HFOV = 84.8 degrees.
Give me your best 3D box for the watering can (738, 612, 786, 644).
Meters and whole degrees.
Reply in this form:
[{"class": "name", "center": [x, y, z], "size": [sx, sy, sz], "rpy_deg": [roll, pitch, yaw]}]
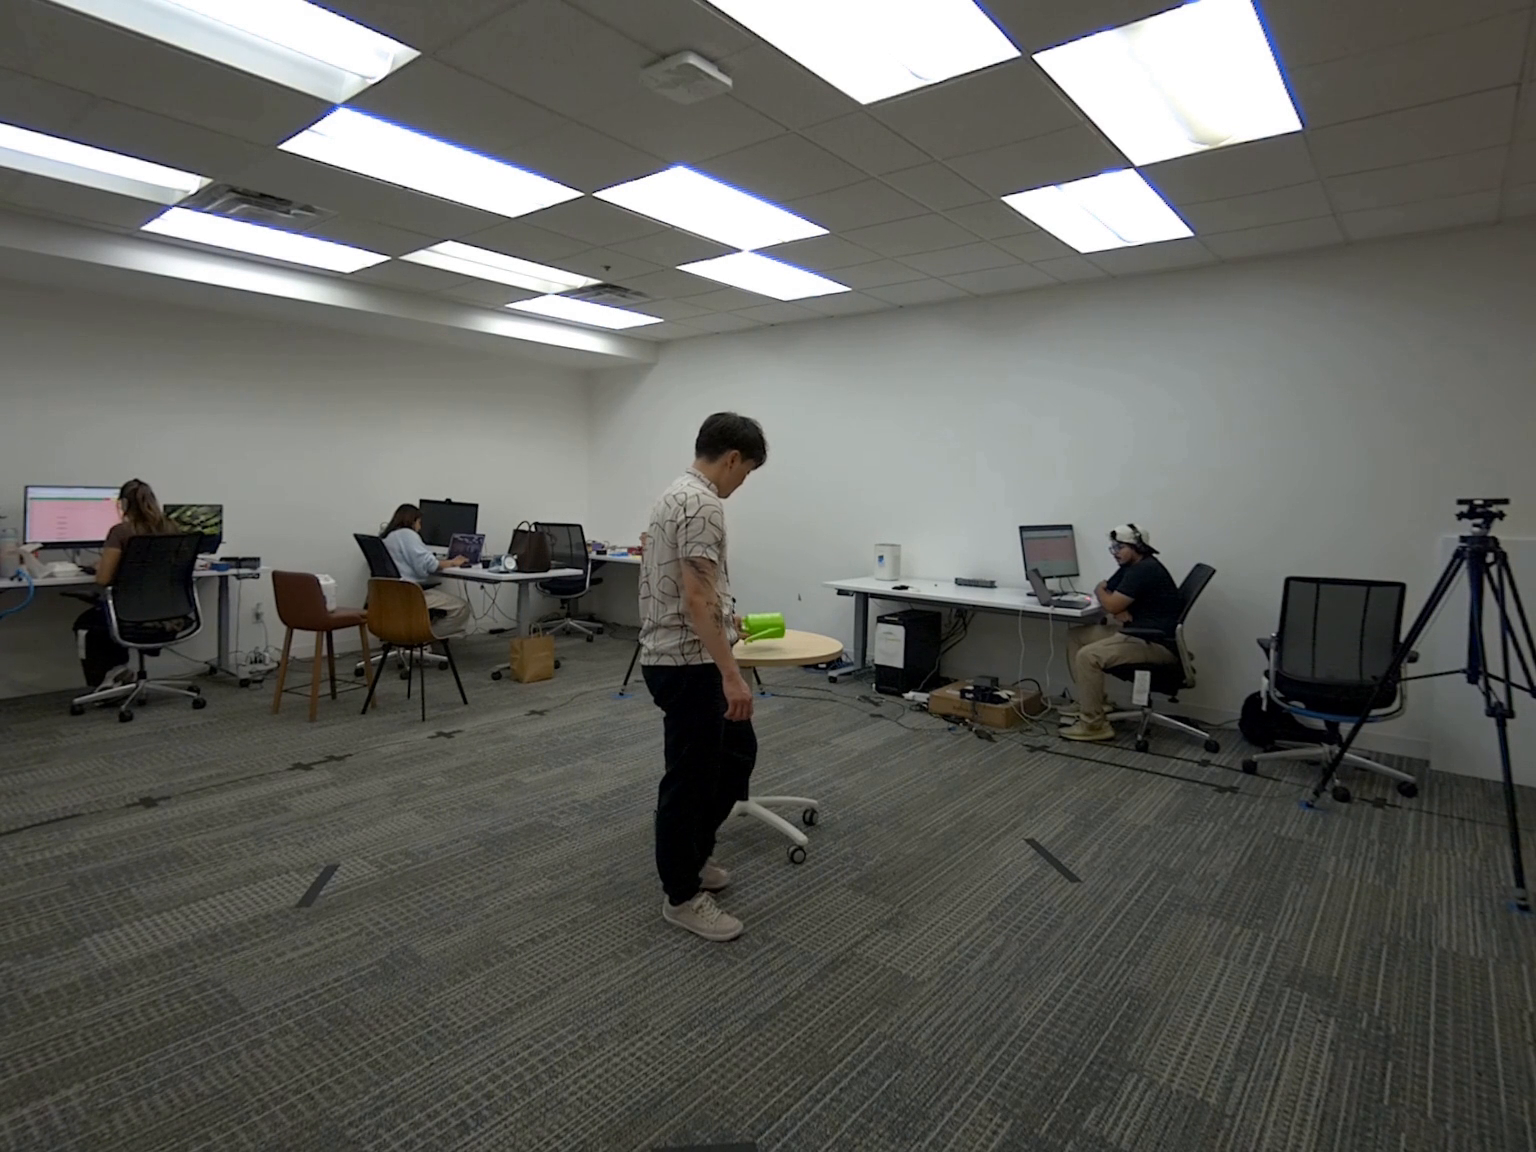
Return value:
[{"class": "watering can", "center": [-0.028, 0.214, 3.214], "size": [0.176, 0.096, 0.286], "rpy_deg": [-4, 28, -7]}]
